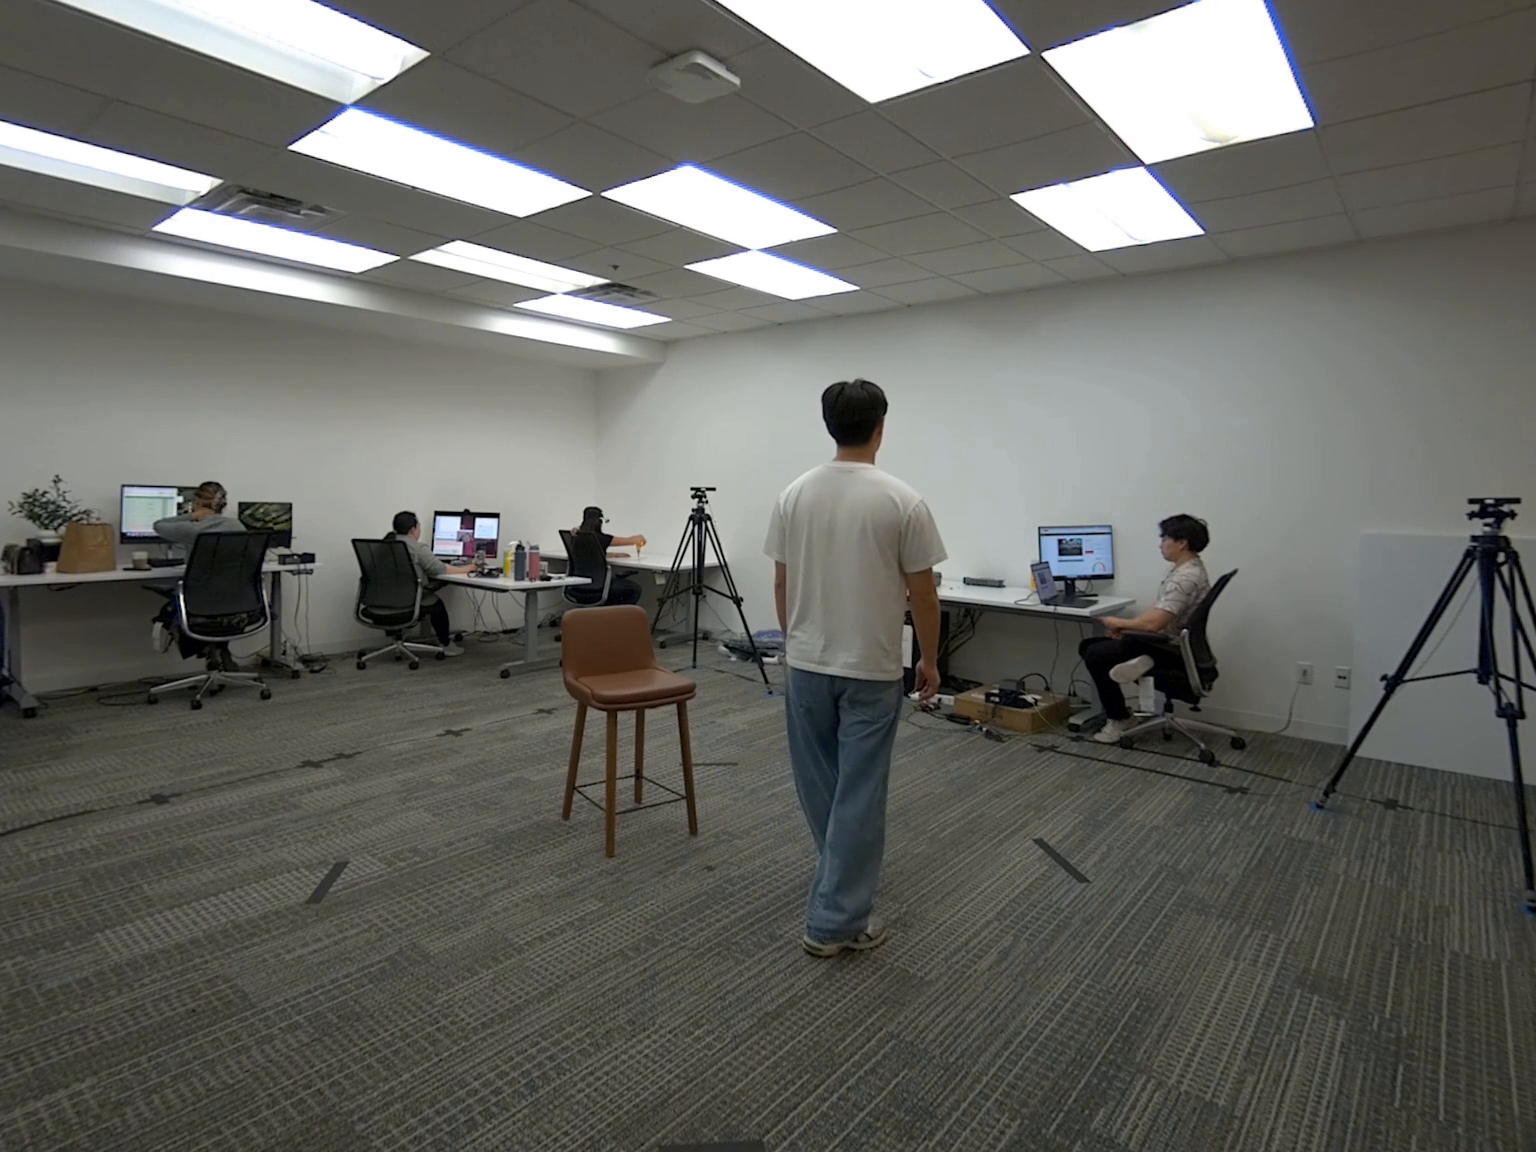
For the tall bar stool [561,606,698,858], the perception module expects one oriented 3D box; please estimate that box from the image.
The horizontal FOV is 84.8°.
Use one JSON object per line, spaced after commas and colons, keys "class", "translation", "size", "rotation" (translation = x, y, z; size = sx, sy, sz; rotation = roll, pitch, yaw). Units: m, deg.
{"class": "tall bar stool", "translation": [-0.587, 0.587, 3.465], "size": [0.443, 0.889, 0.482], "rotation": [-1, 2, -38]}
